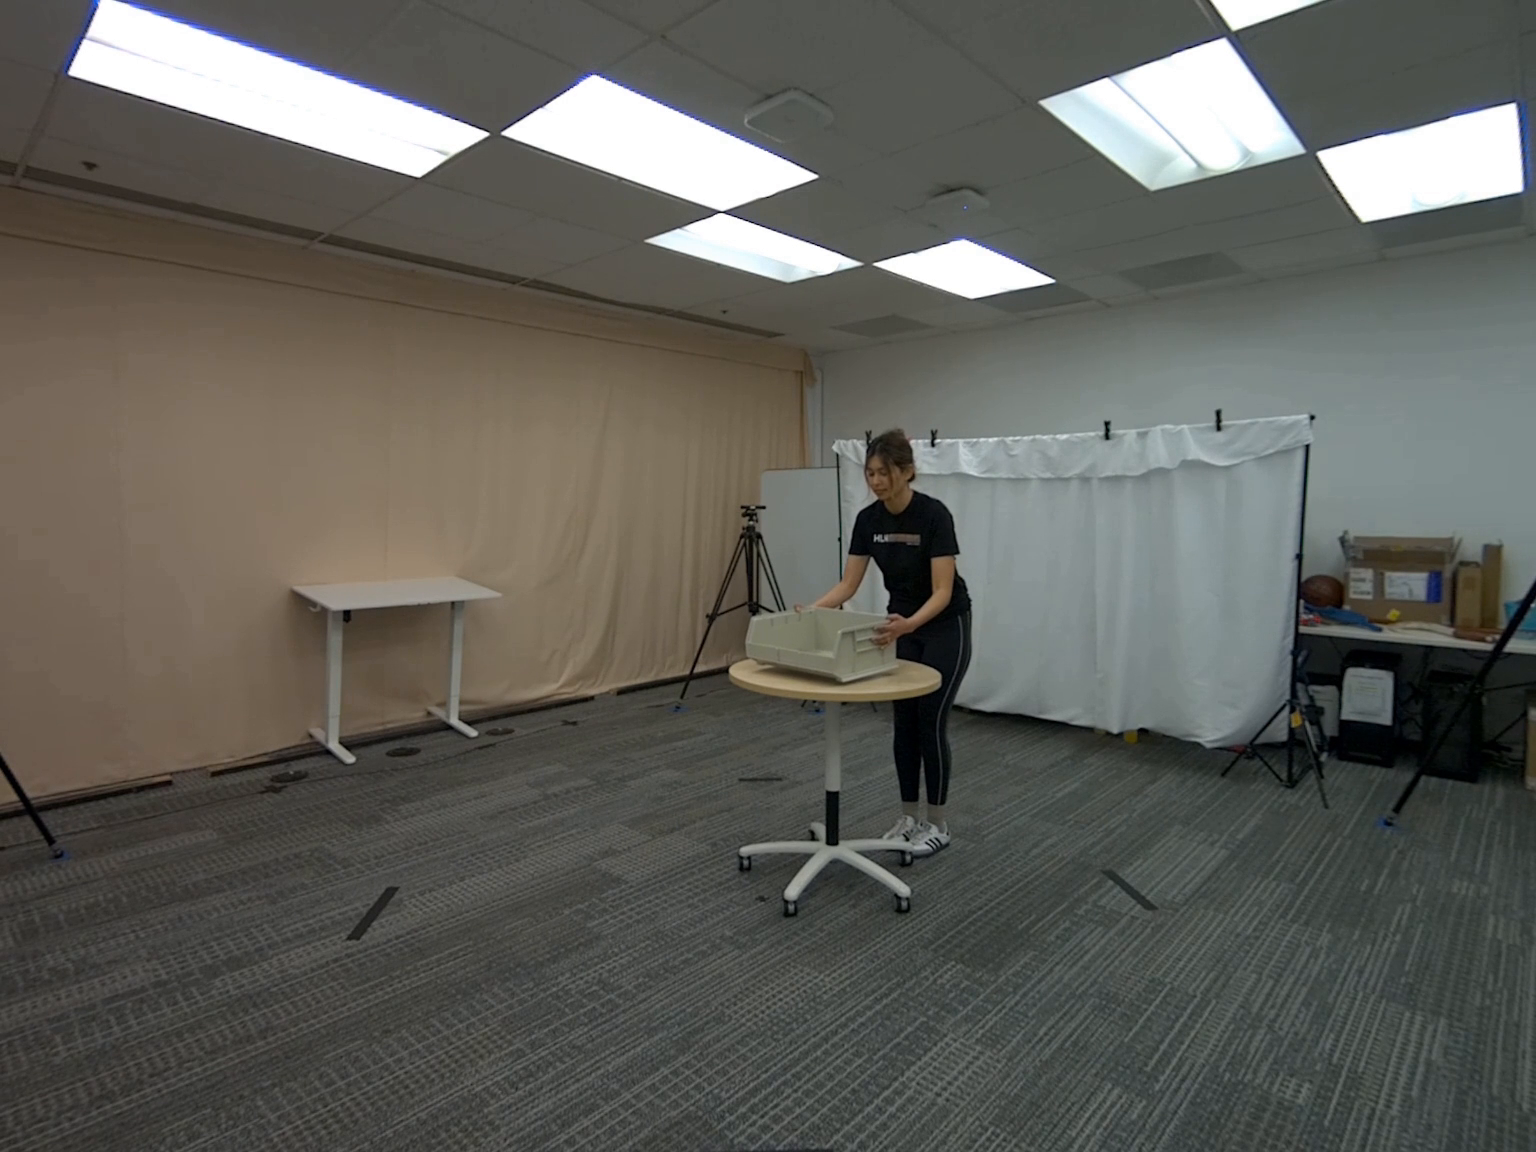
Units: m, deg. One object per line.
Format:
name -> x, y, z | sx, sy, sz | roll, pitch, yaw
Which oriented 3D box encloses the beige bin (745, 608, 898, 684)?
beige bin -> 0.201, 0.240, 3.035 | 0.366, 0.188, 0.436 | -5, 7, -44
